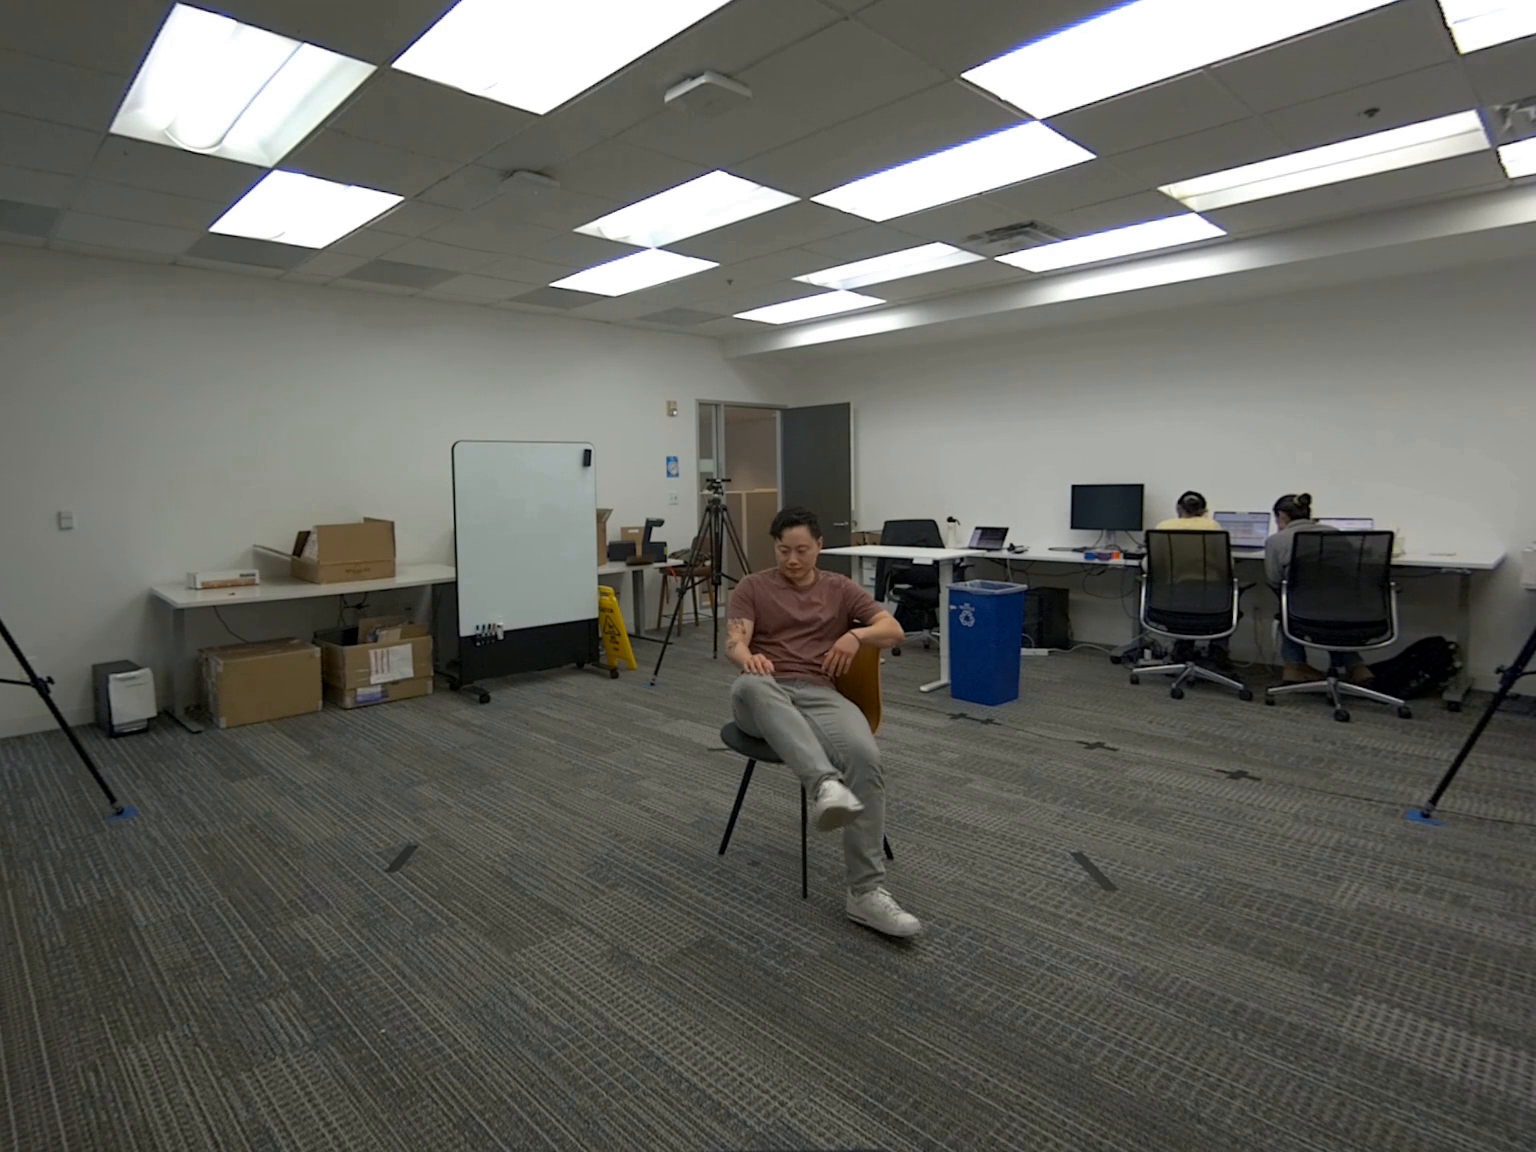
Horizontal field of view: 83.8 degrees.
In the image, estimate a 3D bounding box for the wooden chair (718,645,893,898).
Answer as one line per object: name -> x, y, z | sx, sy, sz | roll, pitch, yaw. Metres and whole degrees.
wooden chair -> 0.126, 0.612, 3.116 | 0.508, 0.877, 0.492 | 1, 1, -41
